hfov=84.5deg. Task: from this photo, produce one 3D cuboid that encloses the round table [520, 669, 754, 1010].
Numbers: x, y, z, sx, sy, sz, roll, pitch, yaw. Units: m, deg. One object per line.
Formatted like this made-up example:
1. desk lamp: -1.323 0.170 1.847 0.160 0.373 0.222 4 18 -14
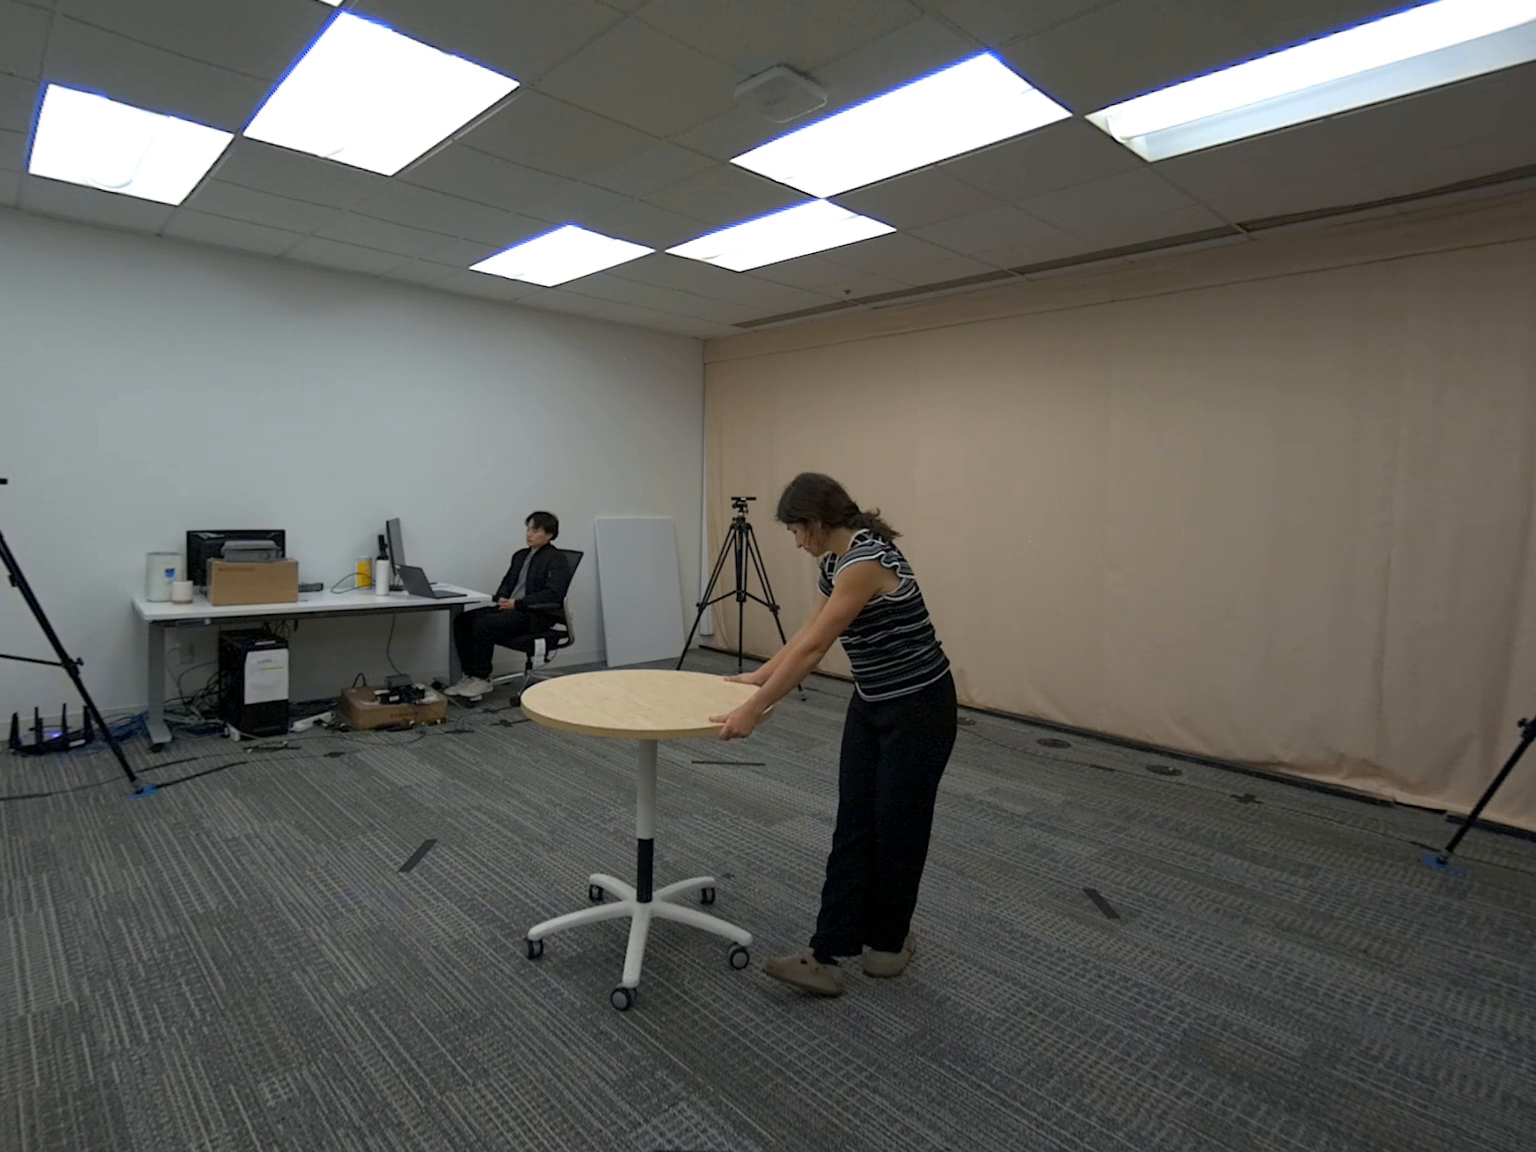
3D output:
1. round table: -0.385 0.760 2.606 0.763 0.792 0.767 2 4 -2
